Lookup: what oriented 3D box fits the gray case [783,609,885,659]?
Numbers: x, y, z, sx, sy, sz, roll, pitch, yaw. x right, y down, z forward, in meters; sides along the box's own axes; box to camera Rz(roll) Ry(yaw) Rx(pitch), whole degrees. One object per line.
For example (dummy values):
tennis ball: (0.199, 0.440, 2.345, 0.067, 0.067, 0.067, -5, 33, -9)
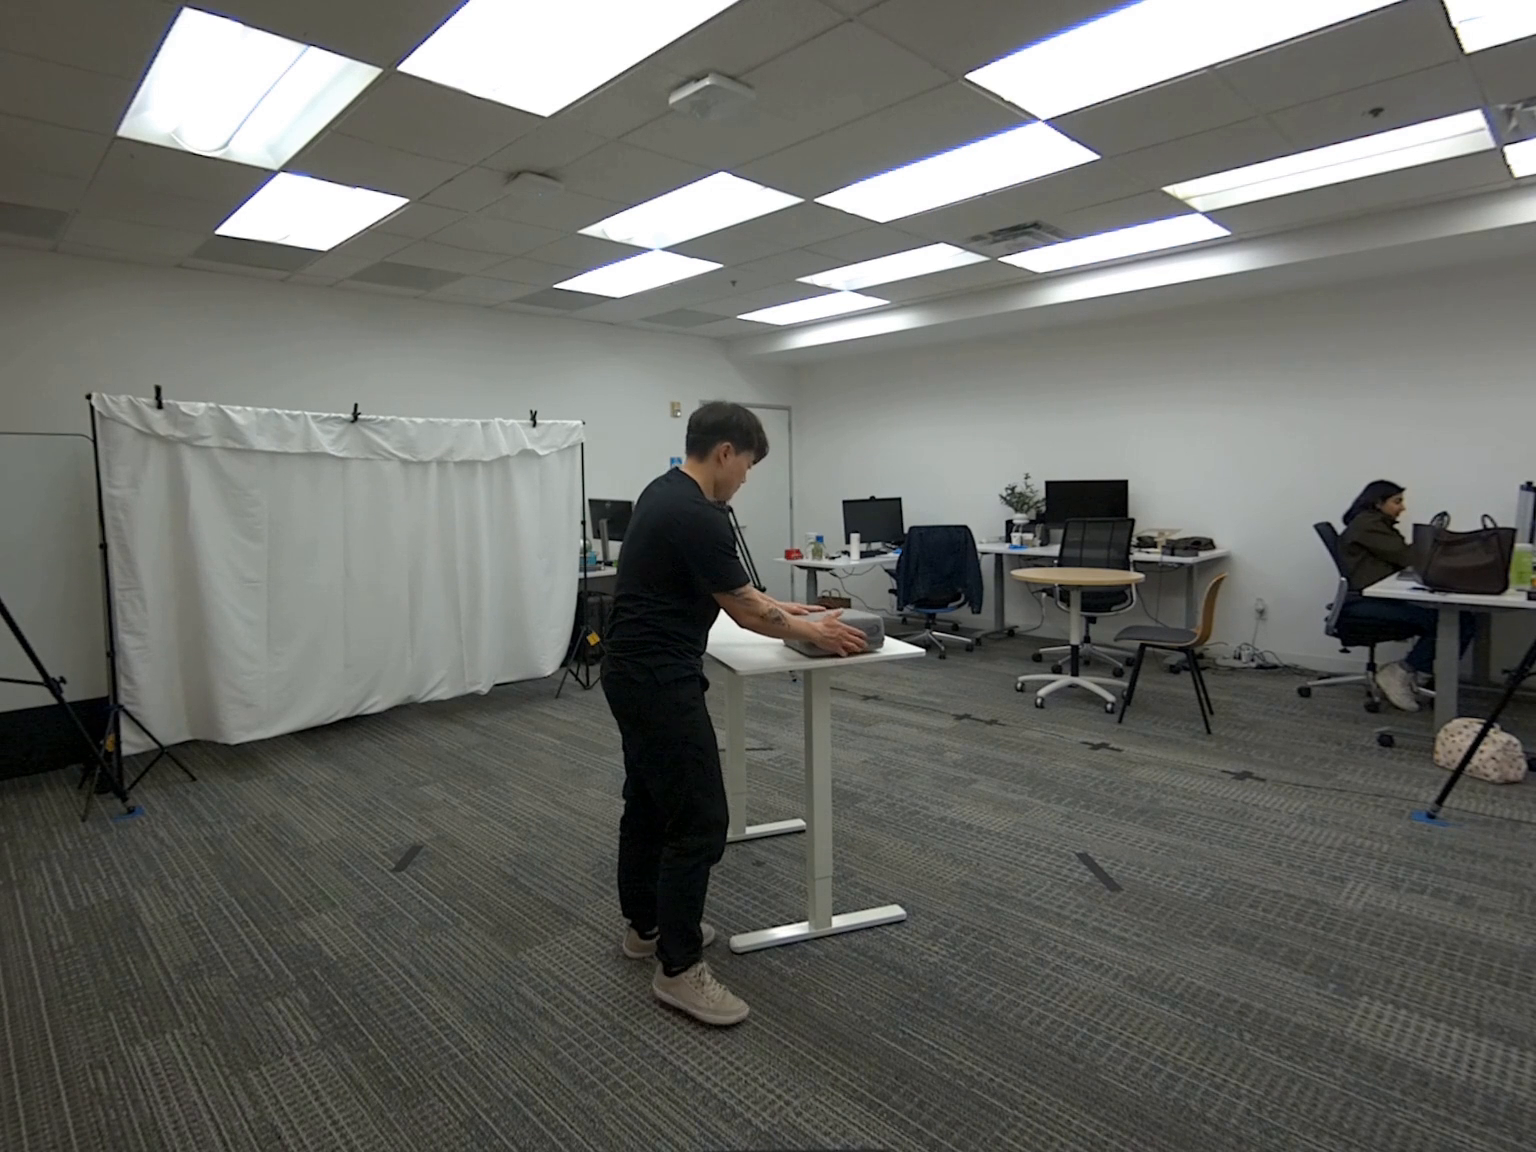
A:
gray case: (0.206, 0.166, 2.595, 0.257, 0.104, 0.261, -5, 2, -18)
